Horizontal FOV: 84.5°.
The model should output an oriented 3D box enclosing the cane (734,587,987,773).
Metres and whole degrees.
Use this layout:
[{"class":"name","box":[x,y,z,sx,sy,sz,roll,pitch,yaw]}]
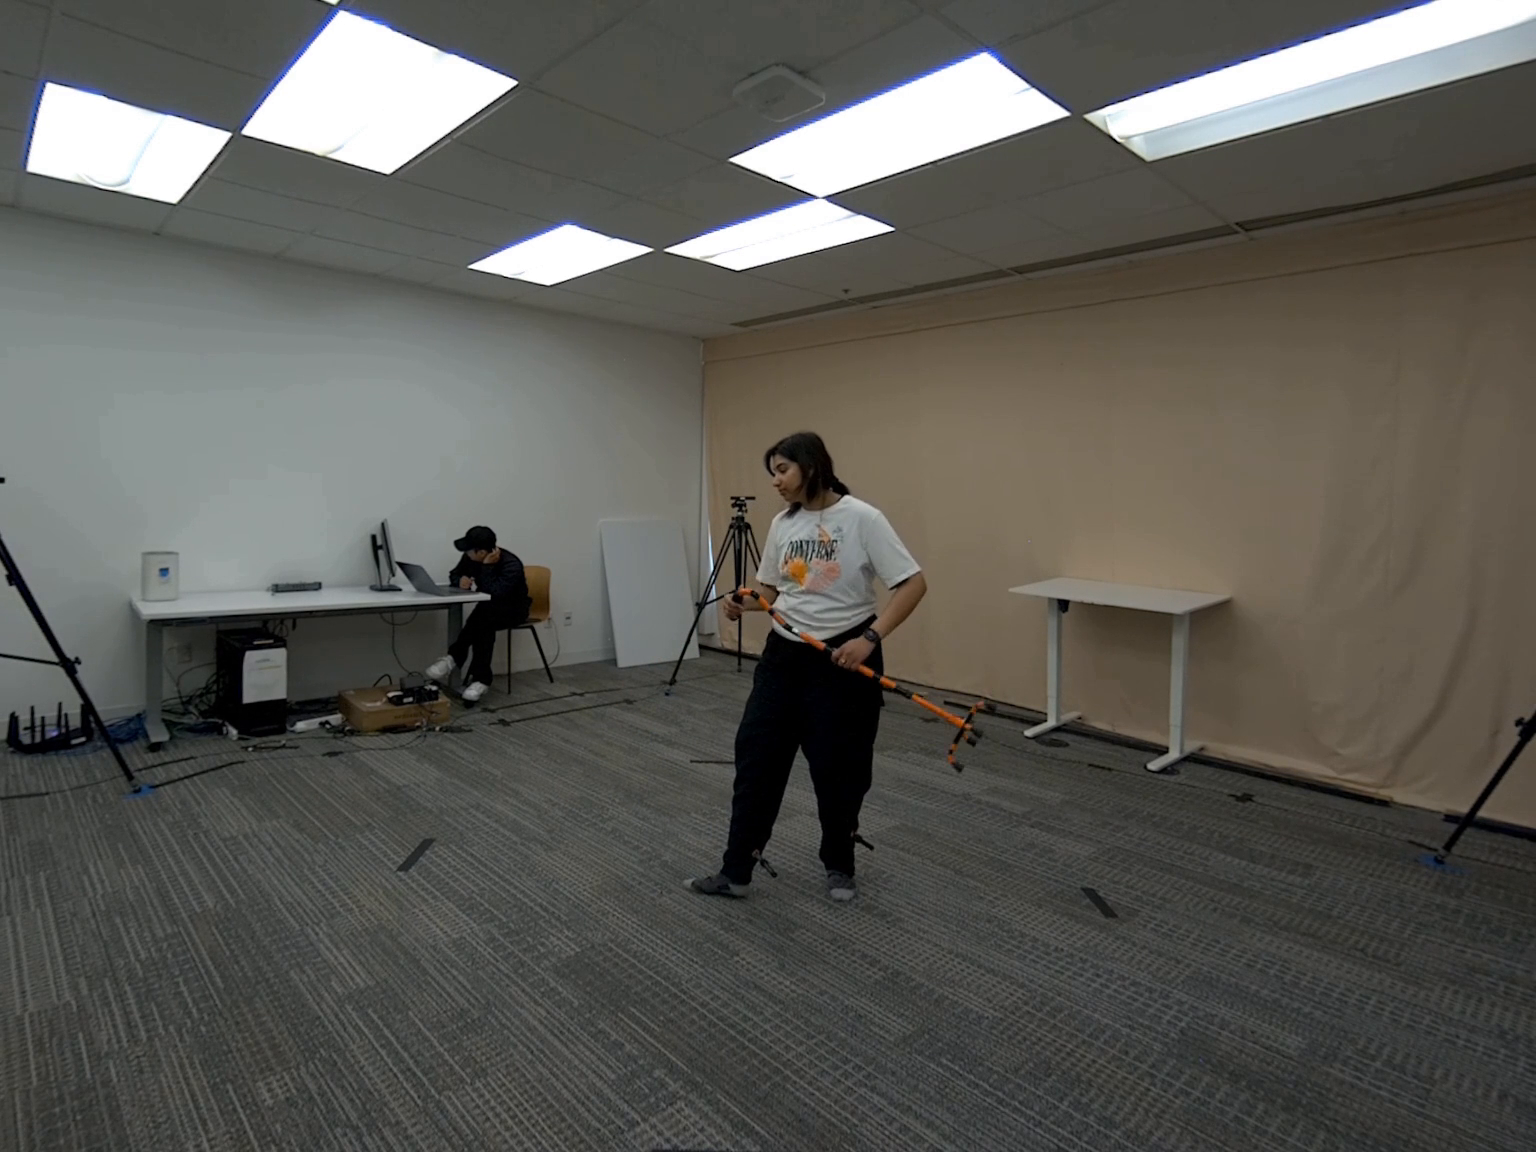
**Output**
[{"class":"cane","box":[0.234,0.298,2.697,0.922,0.203,0.151,27,39,15]}]
